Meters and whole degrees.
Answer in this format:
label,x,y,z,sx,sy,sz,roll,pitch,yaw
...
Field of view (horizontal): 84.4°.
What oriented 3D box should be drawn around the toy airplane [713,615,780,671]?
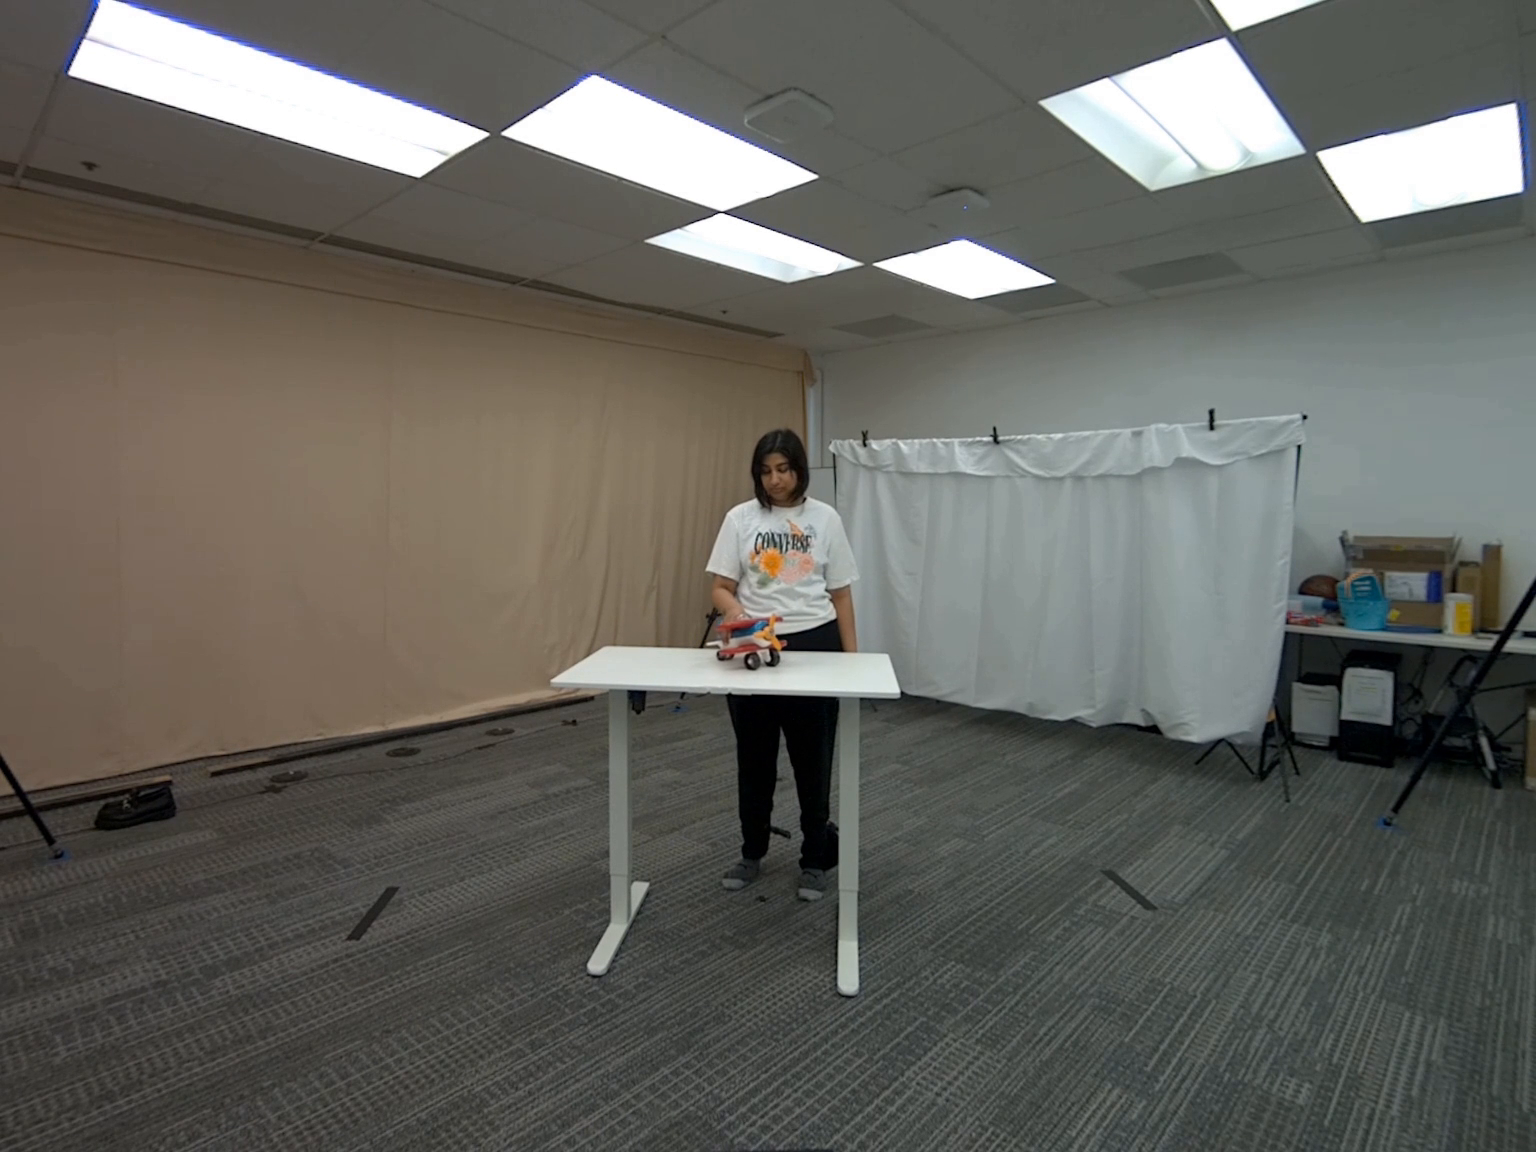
label,x,y,z,sx,sy,sz,roll,pitch,yaw
toy airplane,-0.086,0.210,2.702,0.265,0.156,0.246,2,5,20
